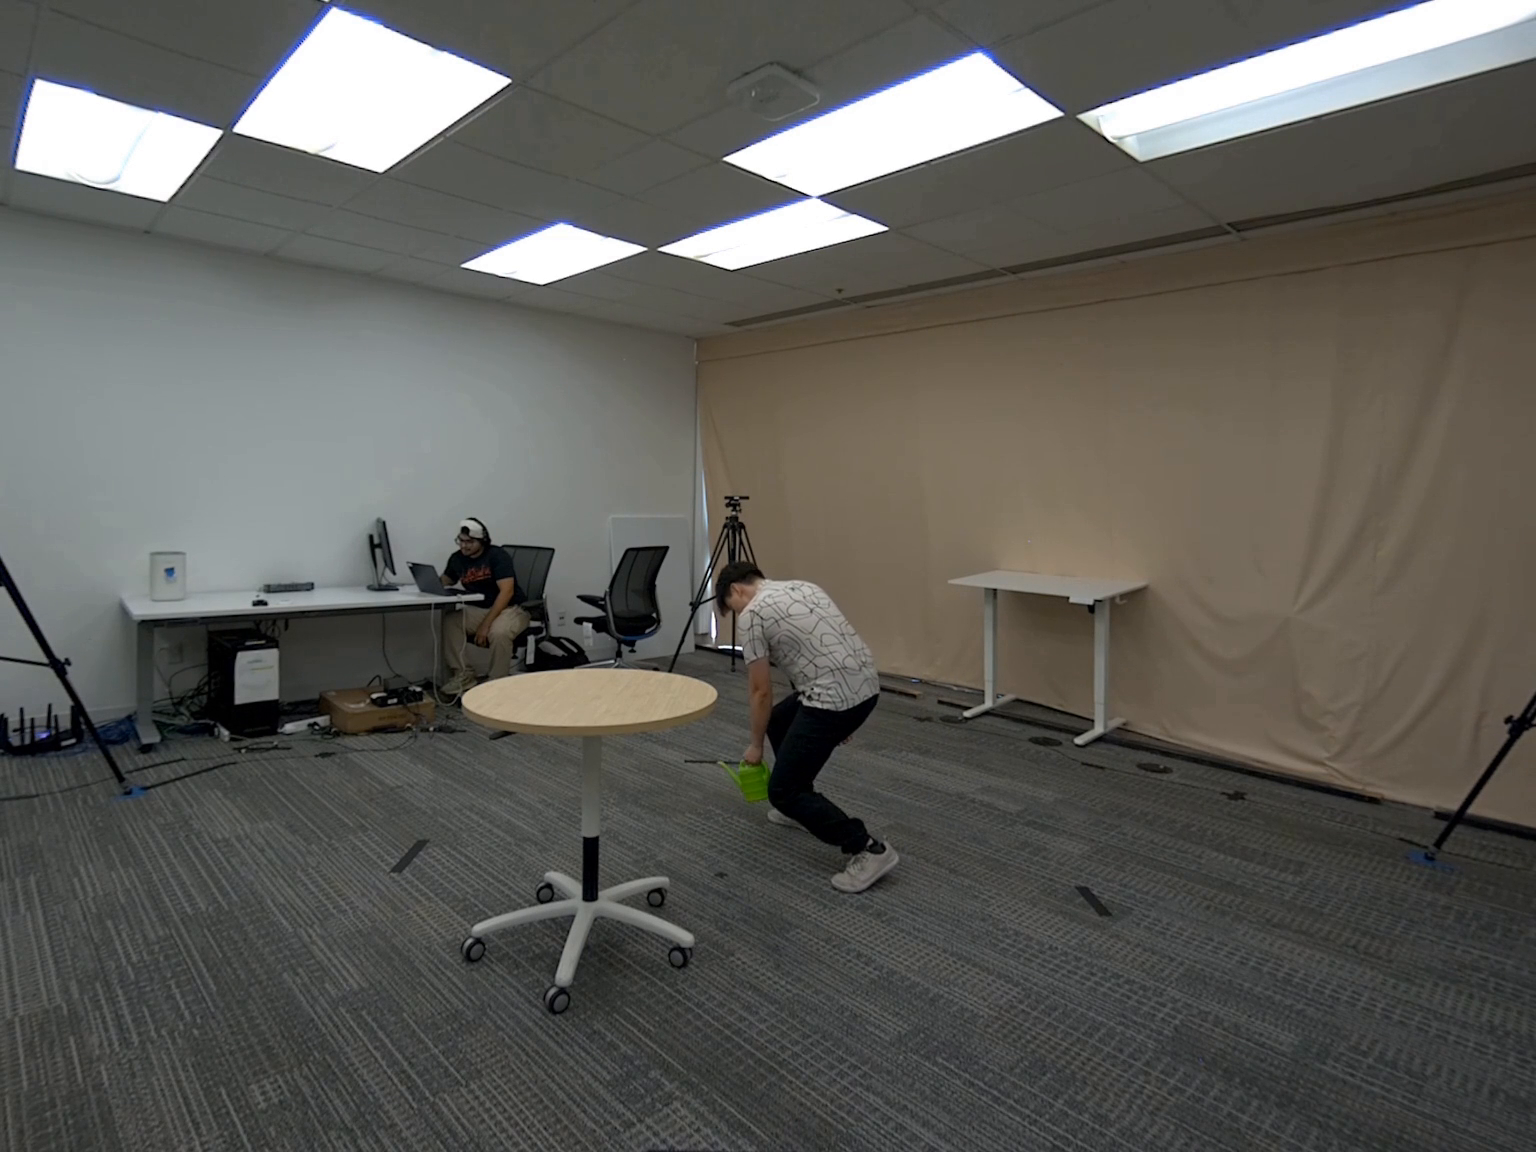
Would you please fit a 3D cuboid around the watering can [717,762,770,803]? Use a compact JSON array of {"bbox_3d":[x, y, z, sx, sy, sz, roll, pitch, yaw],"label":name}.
[{"bbox_3d":[-0.093,0.849,3.522,0.096,0.178,0.282,-9,-8,-38],"label":"watering can"}]
